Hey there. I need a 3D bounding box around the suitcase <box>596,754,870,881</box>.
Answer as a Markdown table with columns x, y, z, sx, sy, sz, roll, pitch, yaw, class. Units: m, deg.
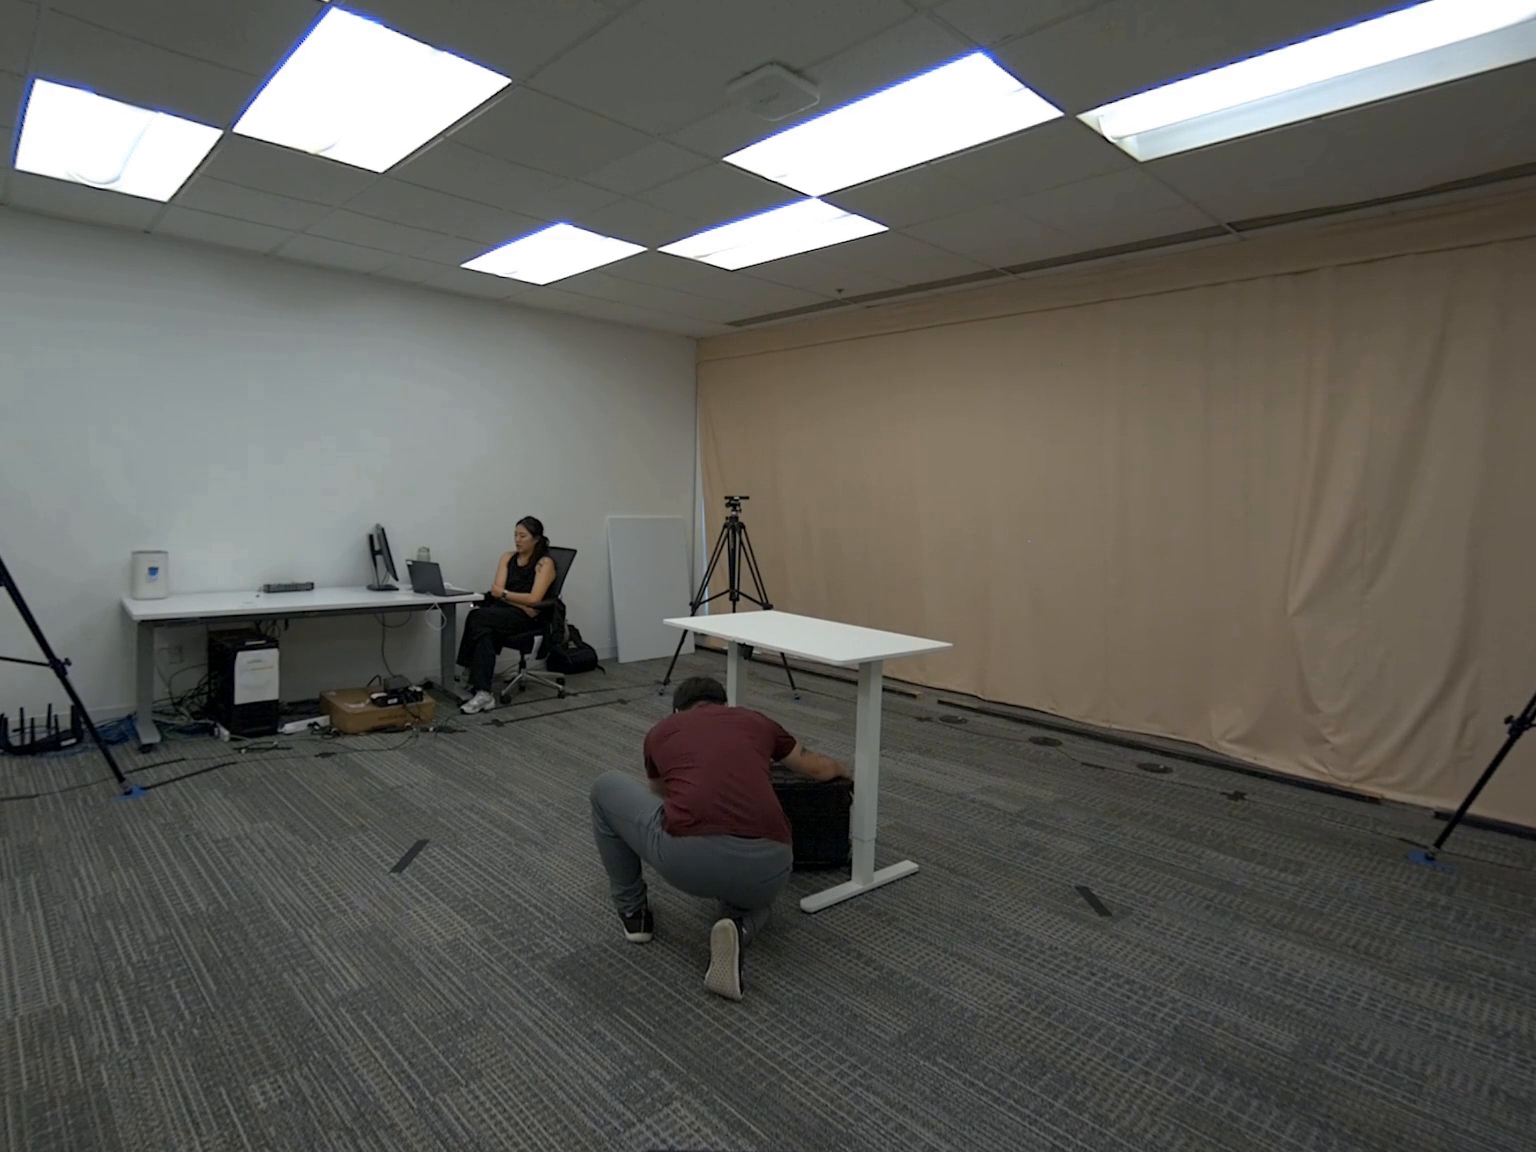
| x | y | z | sx | sy | sz | roll | pitch | yaw | class |
| --- | --- | --- | --- | --- | --- | --- | --- | --- | --- |
| -0.140 | 0.901 | 3.191 | 0.973 | 0.384 | 0.258 | 2 | 0 | -7 | suitcase |
